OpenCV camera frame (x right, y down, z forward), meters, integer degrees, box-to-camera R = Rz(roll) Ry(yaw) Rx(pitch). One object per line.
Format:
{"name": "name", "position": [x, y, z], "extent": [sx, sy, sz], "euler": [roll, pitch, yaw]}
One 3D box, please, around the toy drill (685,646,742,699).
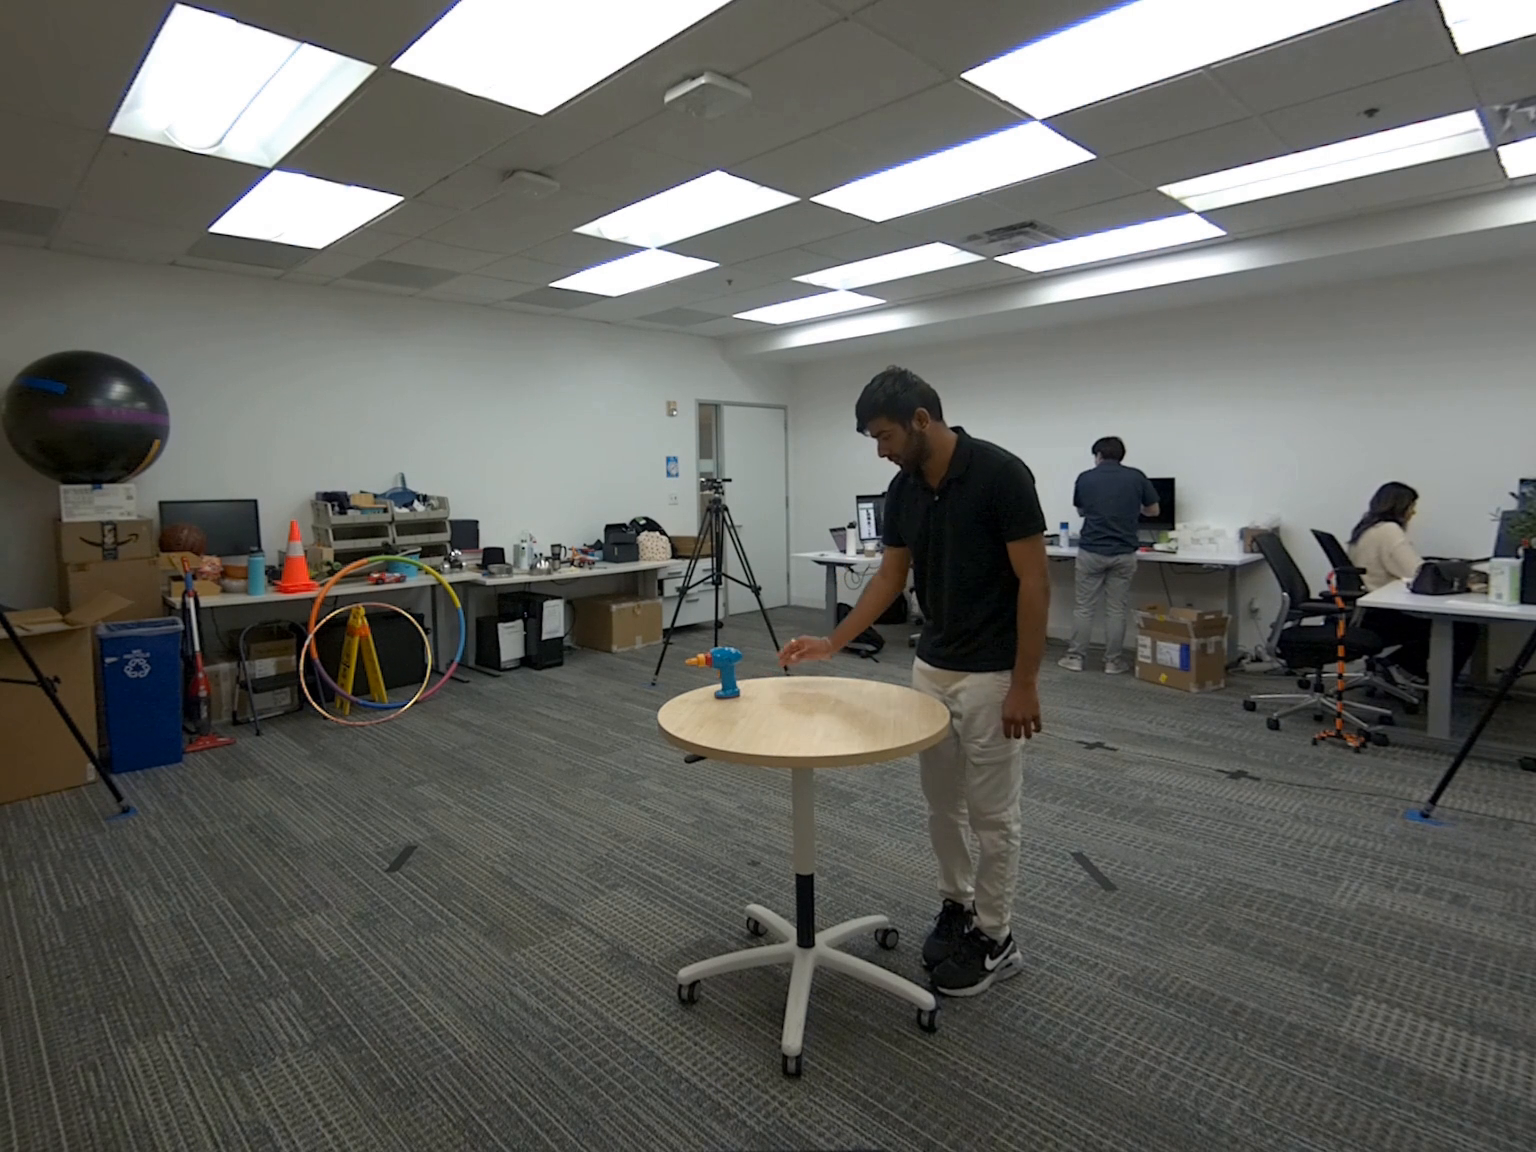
{"name": "toy drill", "position": [-0.143, 0.271, 2.413], "extent": [0.167, 0.145, 0.062], "euler": [-3, 4, -21]}
